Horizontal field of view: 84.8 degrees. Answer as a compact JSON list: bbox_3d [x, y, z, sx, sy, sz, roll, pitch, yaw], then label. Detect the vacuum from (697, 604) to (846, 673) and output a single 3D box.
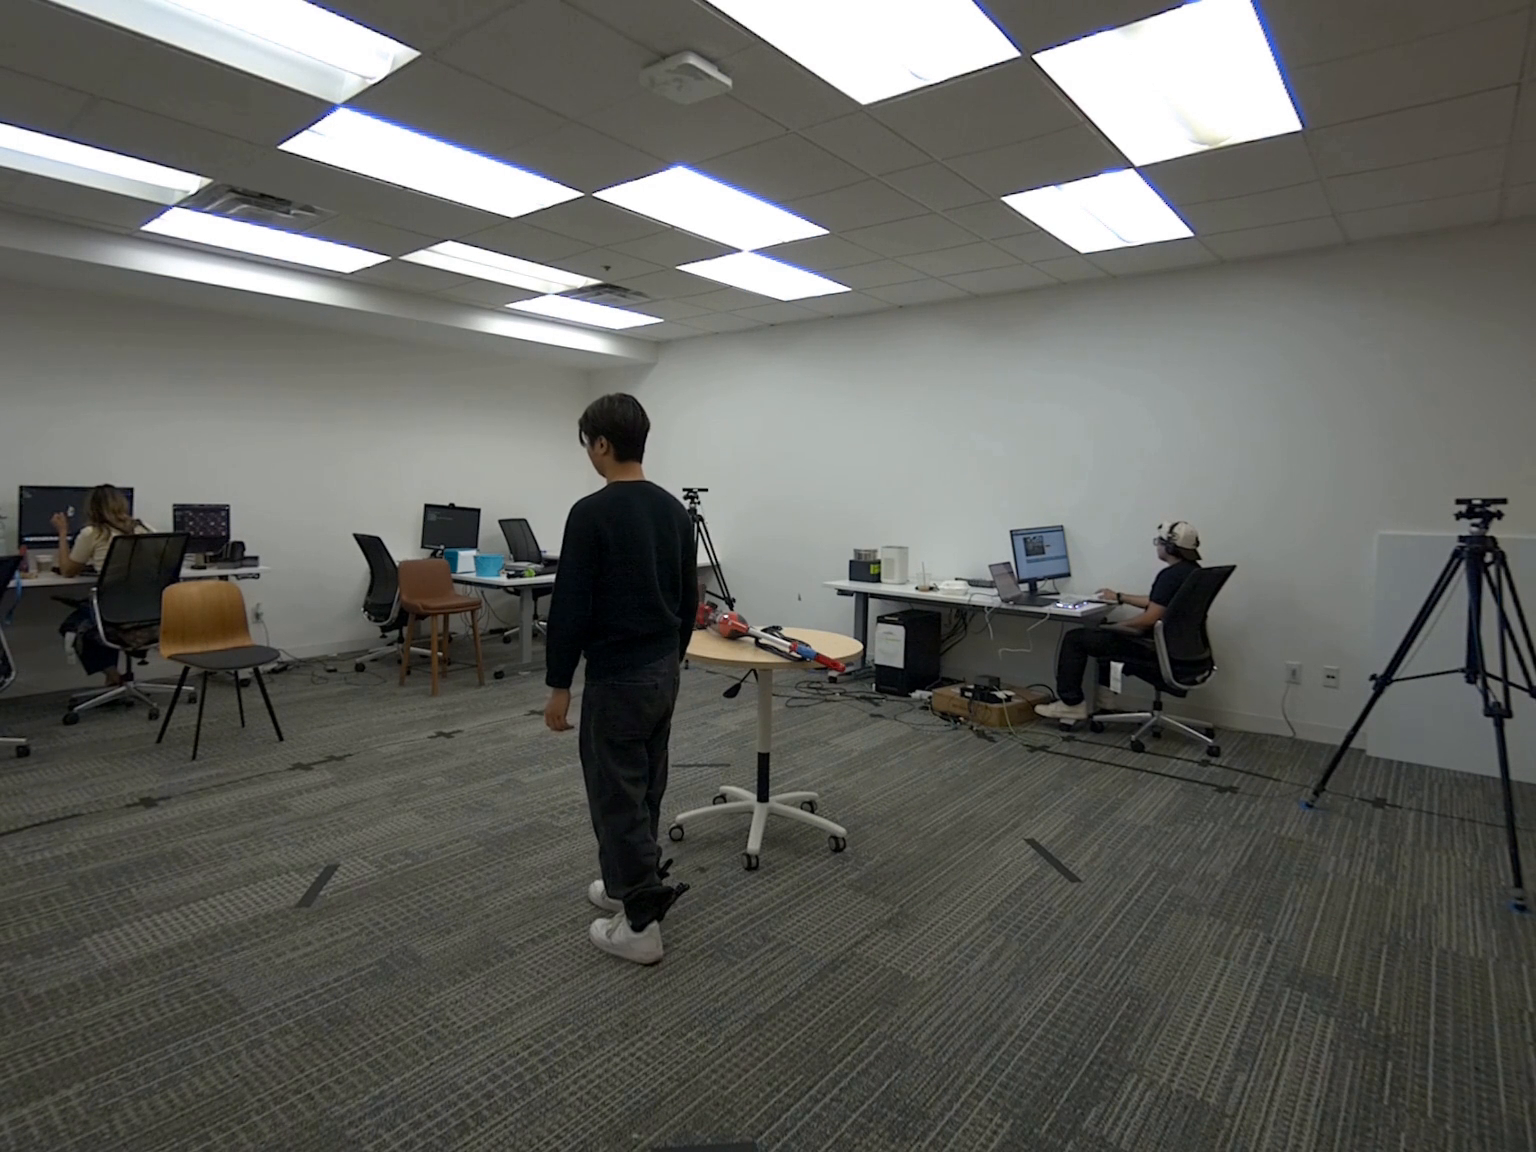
[{"bbox_3d":[-0.044,0.235,3.273,0.139,0.253,1.085,33,-9,-31],"label":"vacuum"}]
